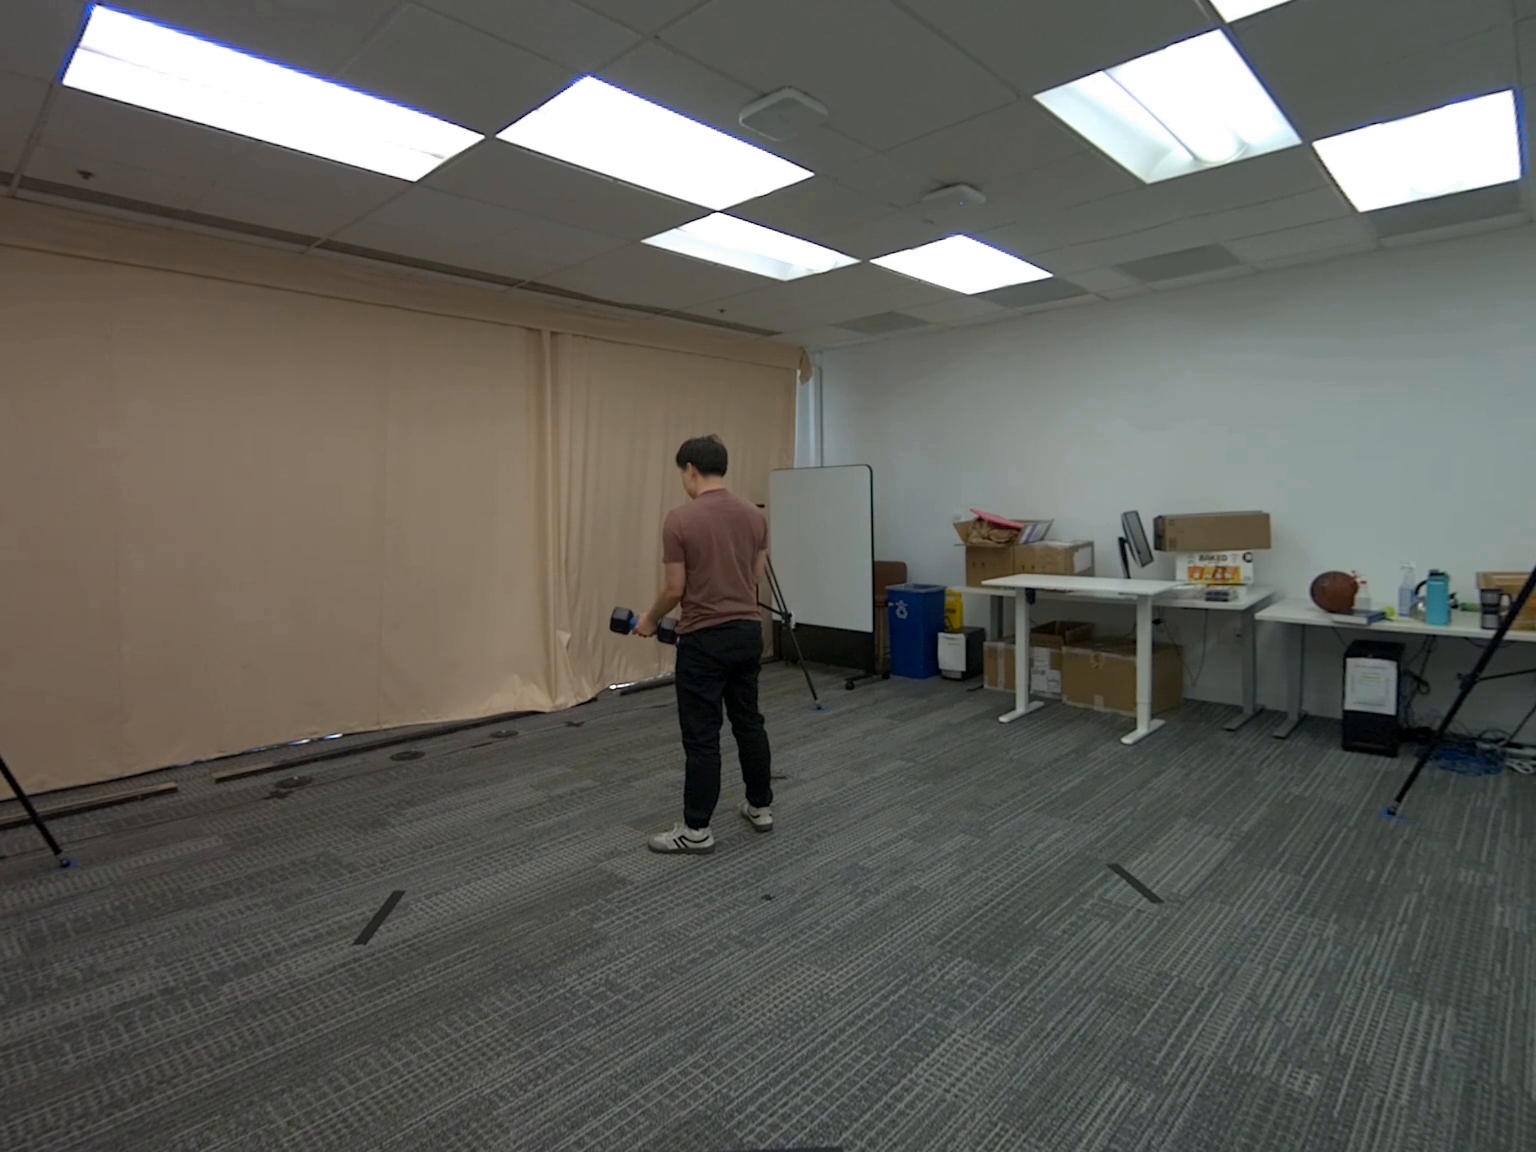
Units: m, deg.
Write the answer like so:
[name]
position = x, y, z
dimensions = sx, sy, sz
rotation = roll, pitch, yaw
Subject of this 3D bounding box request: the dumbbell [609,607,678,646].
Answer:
[dumbbell]
position = -0.529, 0.212, 3.632
dimensions = 0.295, 0.122, 0.109
rotation = 8, 17, 5
